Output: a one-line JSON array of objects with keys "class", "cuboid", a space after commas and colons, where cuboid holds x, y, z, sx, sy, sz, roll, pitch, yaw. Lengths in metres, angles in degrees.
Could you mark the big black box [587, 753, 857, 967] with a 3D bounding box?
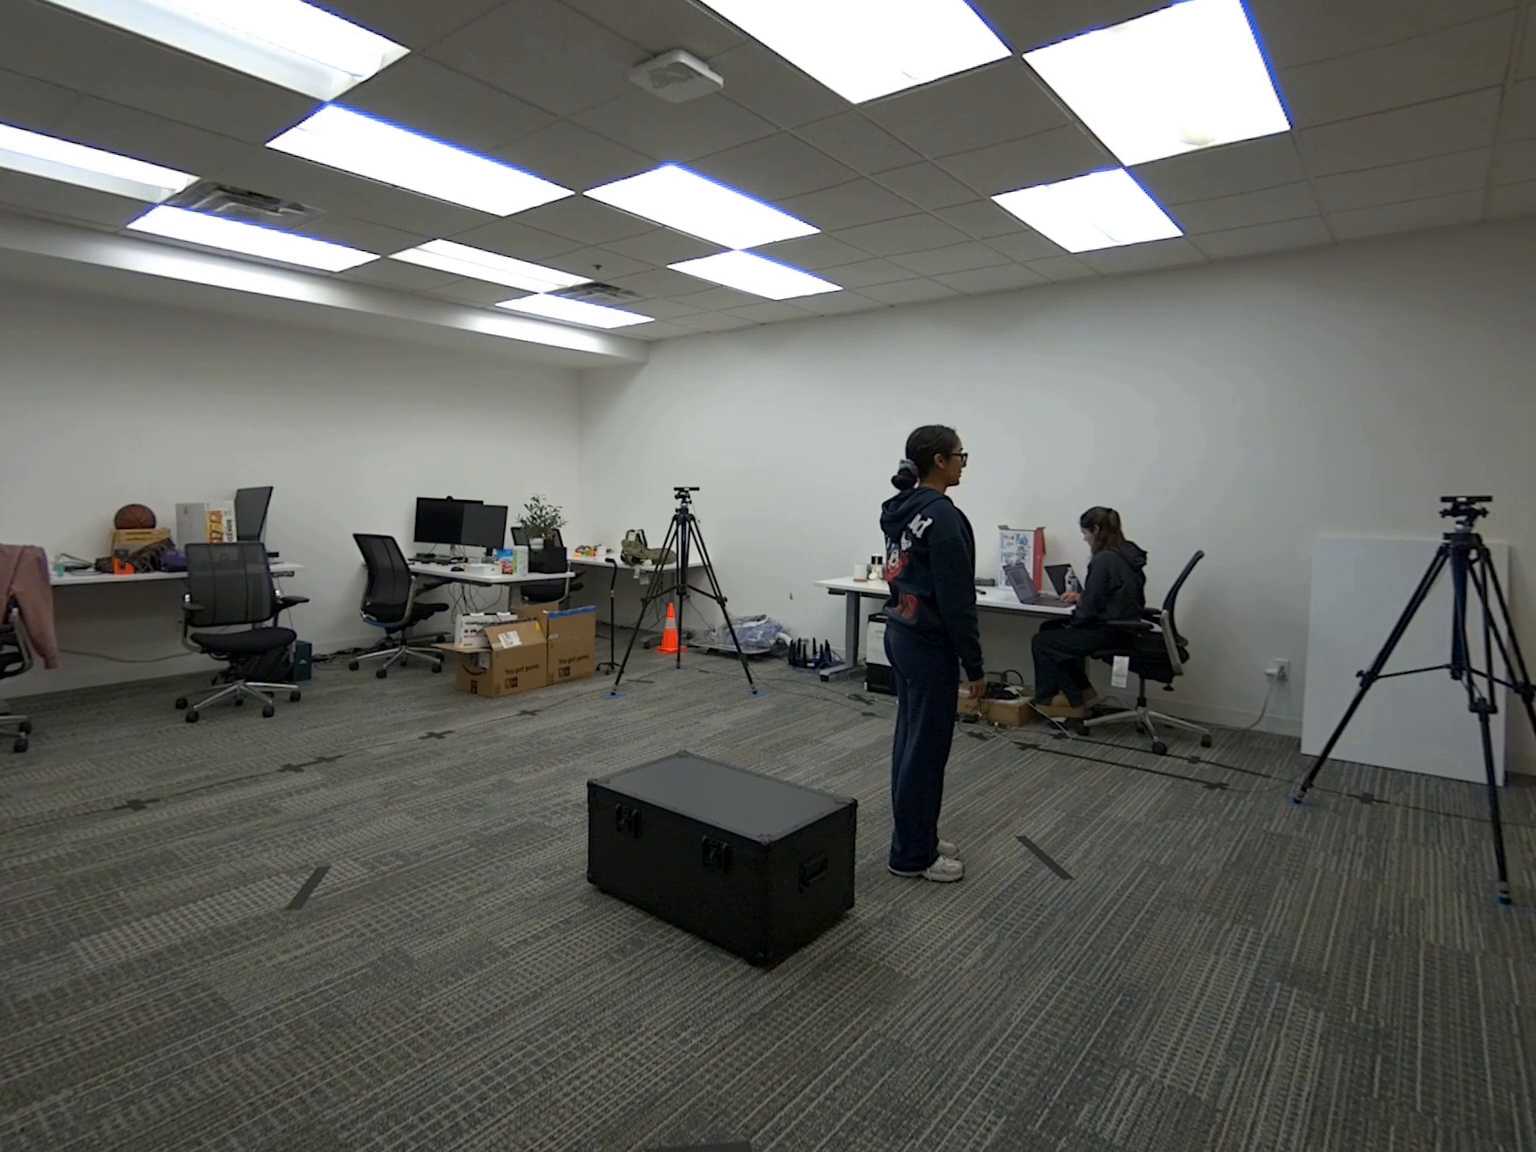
[{"class": "big black box", "cuboid": [-0.199, 0.899, 2.875, 0.891, 0.395, 0.506, 6, 6, 38]}]
